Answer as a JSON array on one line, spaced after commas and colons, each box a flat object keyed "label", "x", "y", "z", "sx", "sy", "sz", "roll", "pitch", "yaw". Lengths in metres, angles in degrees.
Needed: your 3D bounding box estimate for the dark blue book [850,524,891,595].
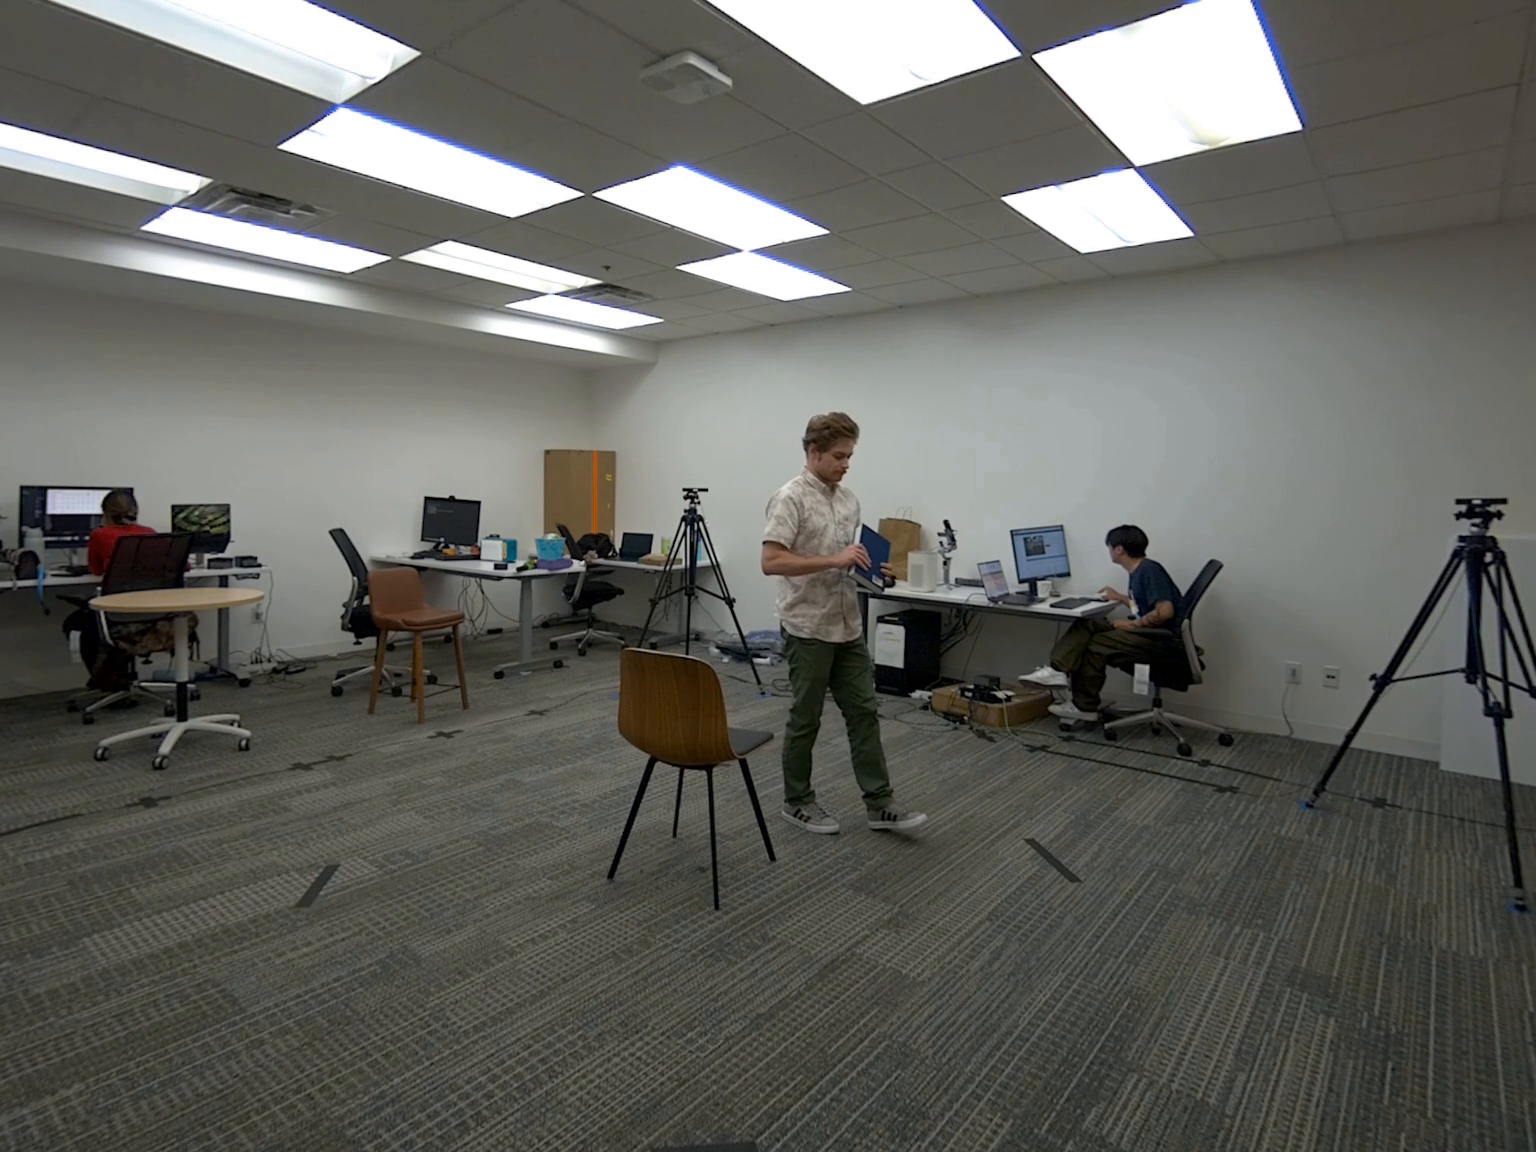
[{"label": "dark blue book", "x": 0.400, "y": -0.072, "z": 3.369, "sx": 0.159, "sy": 0.249, "sz": 0.045, "roll": 31, "pitch": -37, "yaw": -21}]
